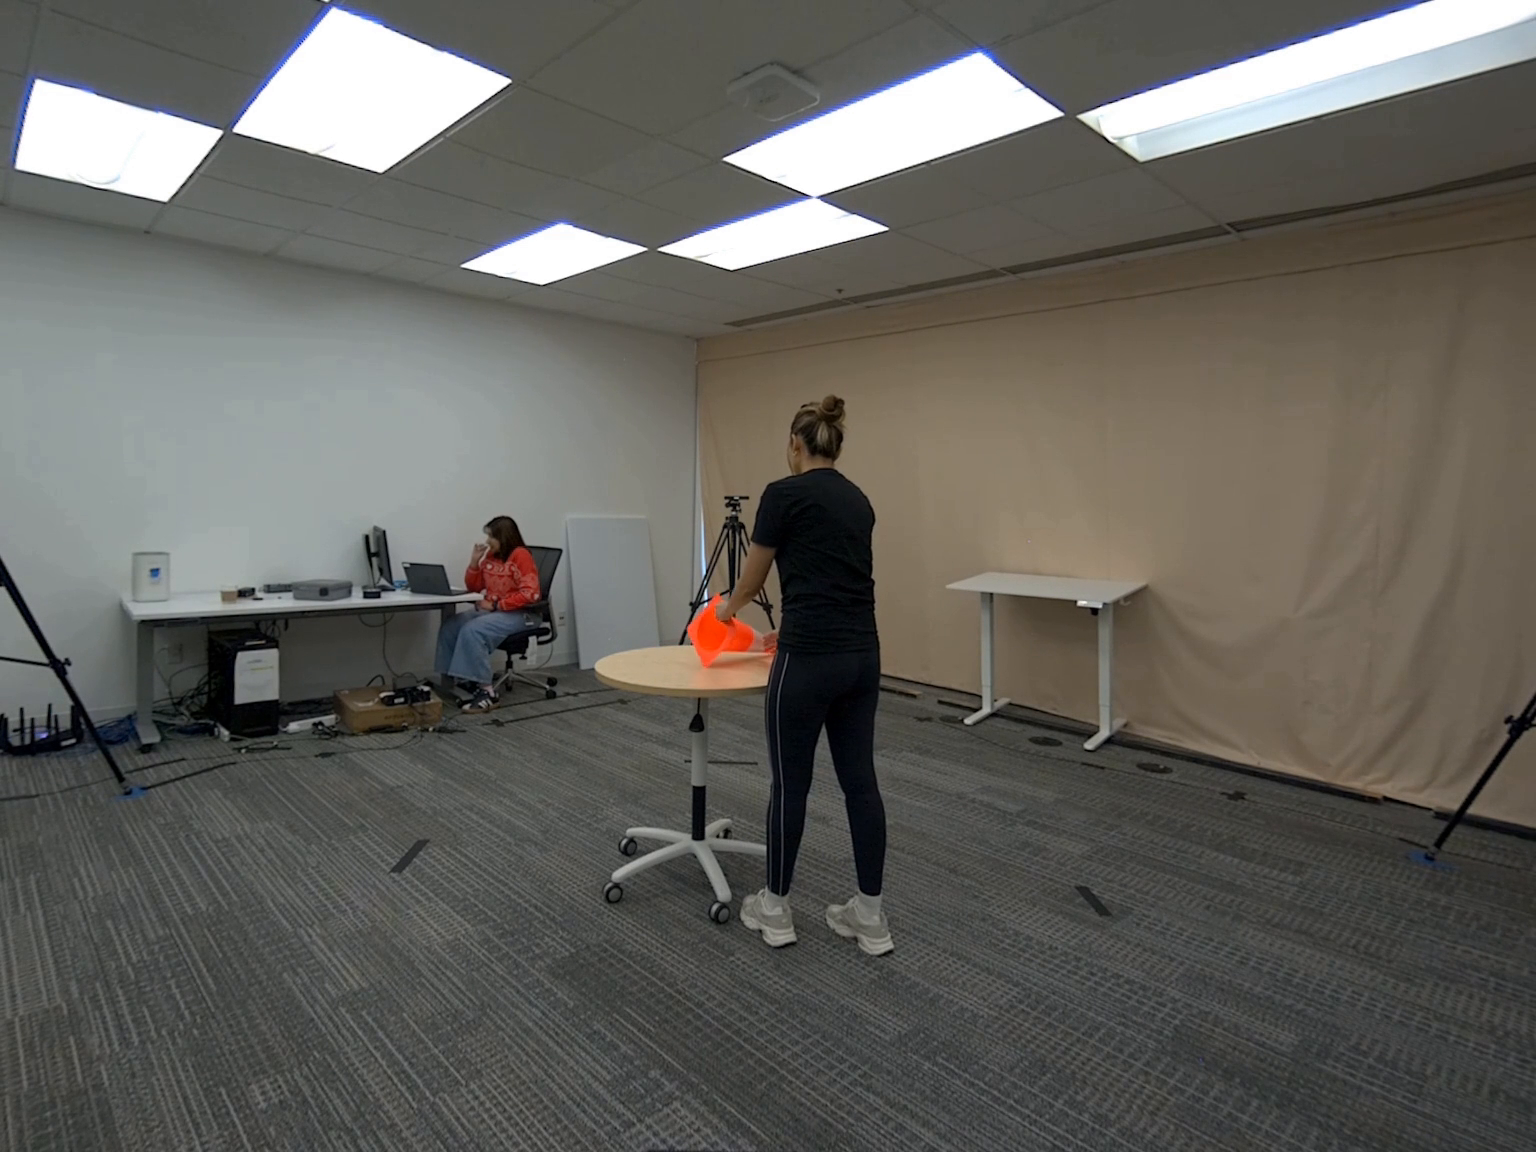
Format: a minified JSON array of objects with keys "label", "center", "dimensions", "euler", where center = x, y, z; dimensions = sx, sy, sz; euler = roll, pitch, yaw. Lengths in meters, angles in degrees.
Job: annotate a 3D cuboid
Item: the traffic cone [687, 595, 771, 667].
[{"label":"traffic cone","center":[-0.081,0.247,3.145],"dimensions":[0.372,0.203,0.211],"euler":[20,30,-43]}]
